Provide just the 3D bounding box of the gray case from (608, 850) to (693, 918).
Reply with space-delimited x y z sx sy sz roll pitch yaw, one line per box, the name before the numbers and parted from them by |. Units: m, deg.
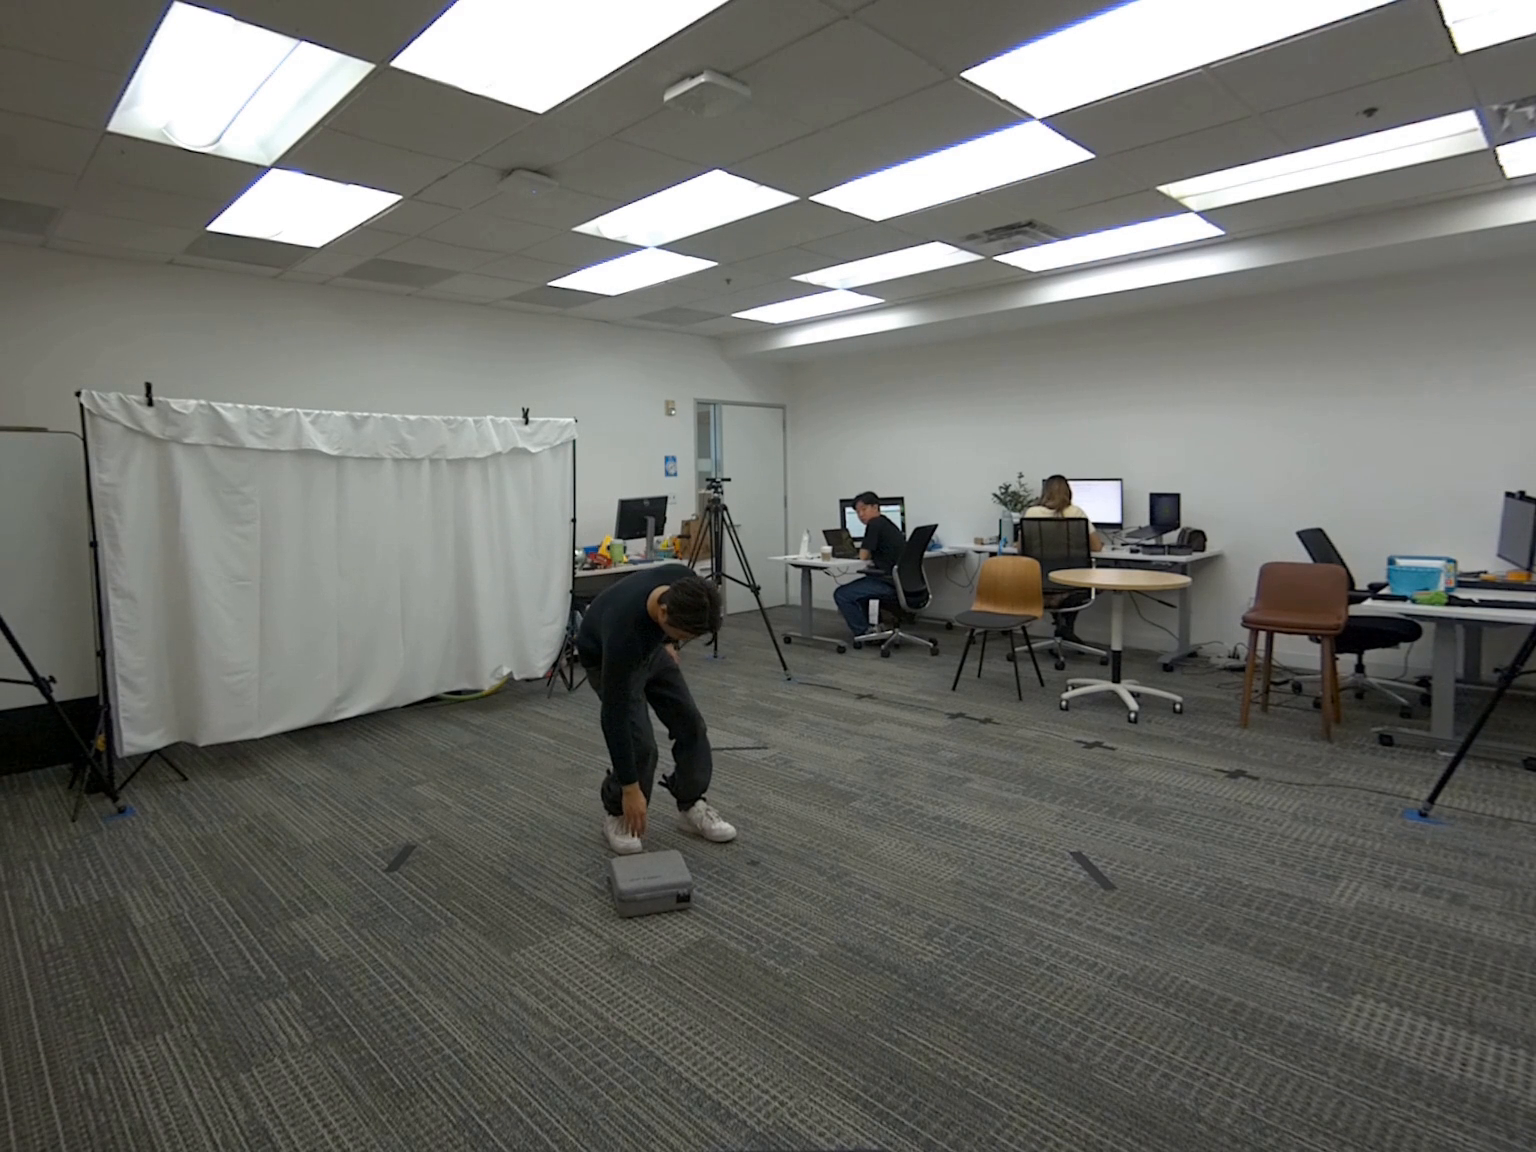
gray case | -0.394 1.026 2.859 0.253 0.104 0.265 -4 7 -15
